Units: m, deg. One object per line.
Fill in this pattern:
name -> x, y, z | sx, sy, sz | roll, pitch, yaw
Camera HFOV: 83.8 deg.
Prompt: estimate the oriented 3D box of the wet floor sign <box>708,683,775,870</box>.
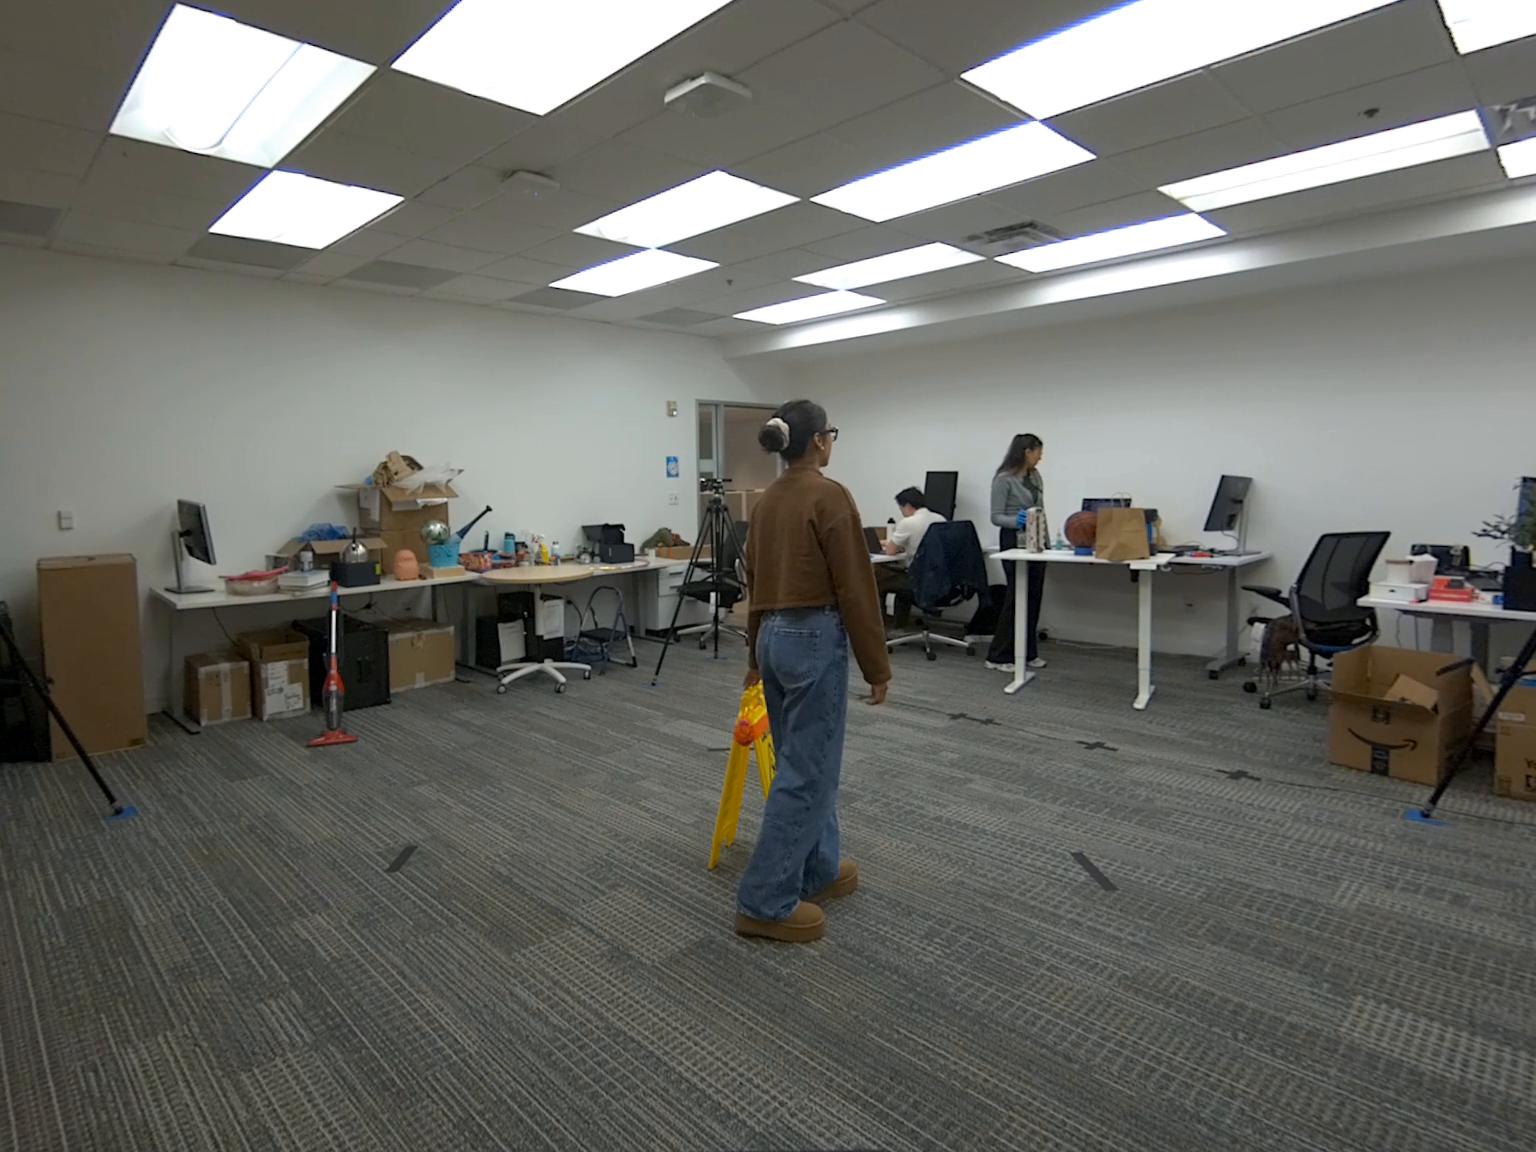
wet floor sign -> -0.049, 0.717, 3.123 | 0.294, 0.644, 0.278 | -1, 3, 16
